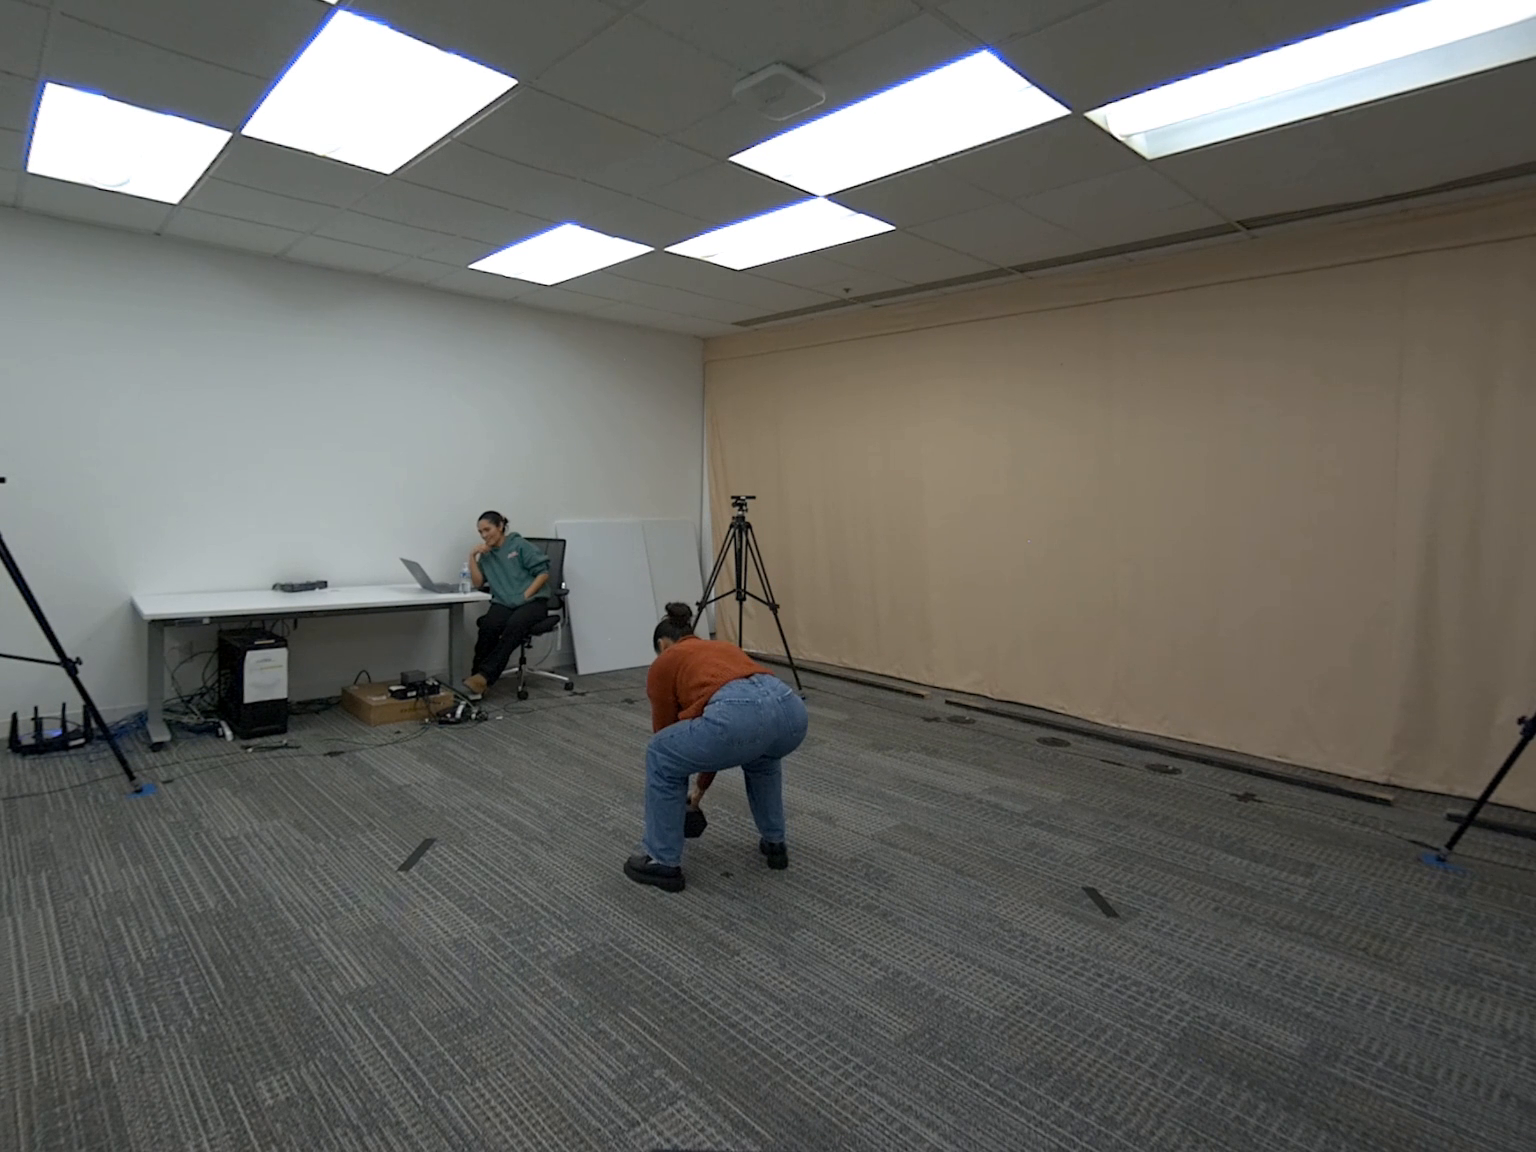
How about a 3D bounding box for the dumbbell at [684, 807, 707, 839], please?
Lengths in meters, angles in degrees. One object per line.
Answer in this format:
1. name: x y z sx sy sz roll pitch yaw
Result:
1. dumbbell: -0.332 0.926 3.346 0.106 0.123 0.299 37 -8 -21
